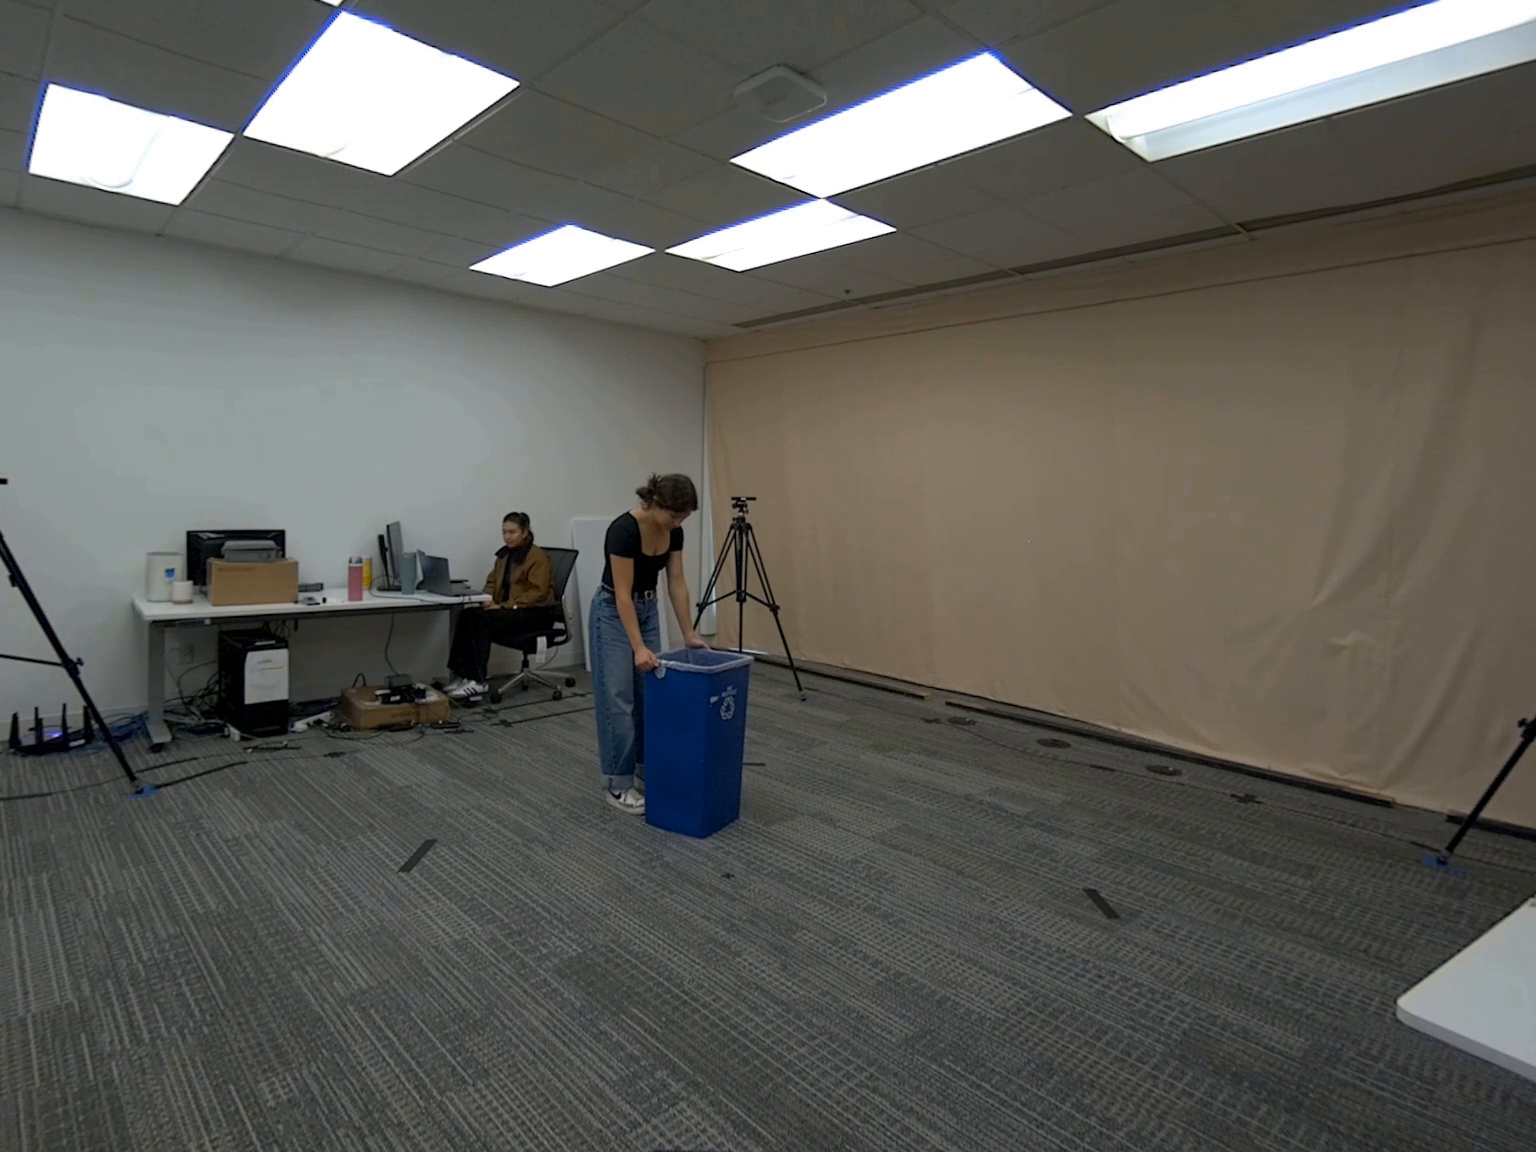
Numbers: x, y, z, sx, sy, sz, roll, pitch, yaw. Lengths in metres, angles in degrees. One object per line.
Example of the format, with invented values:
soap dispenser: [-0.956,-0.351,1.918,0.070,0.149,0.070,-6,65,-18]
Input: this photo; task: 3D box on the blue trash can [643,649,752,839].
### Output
blue trash can: [-0.320,0.700,3.620,0.386,0.711,0.367,4,5,30]
